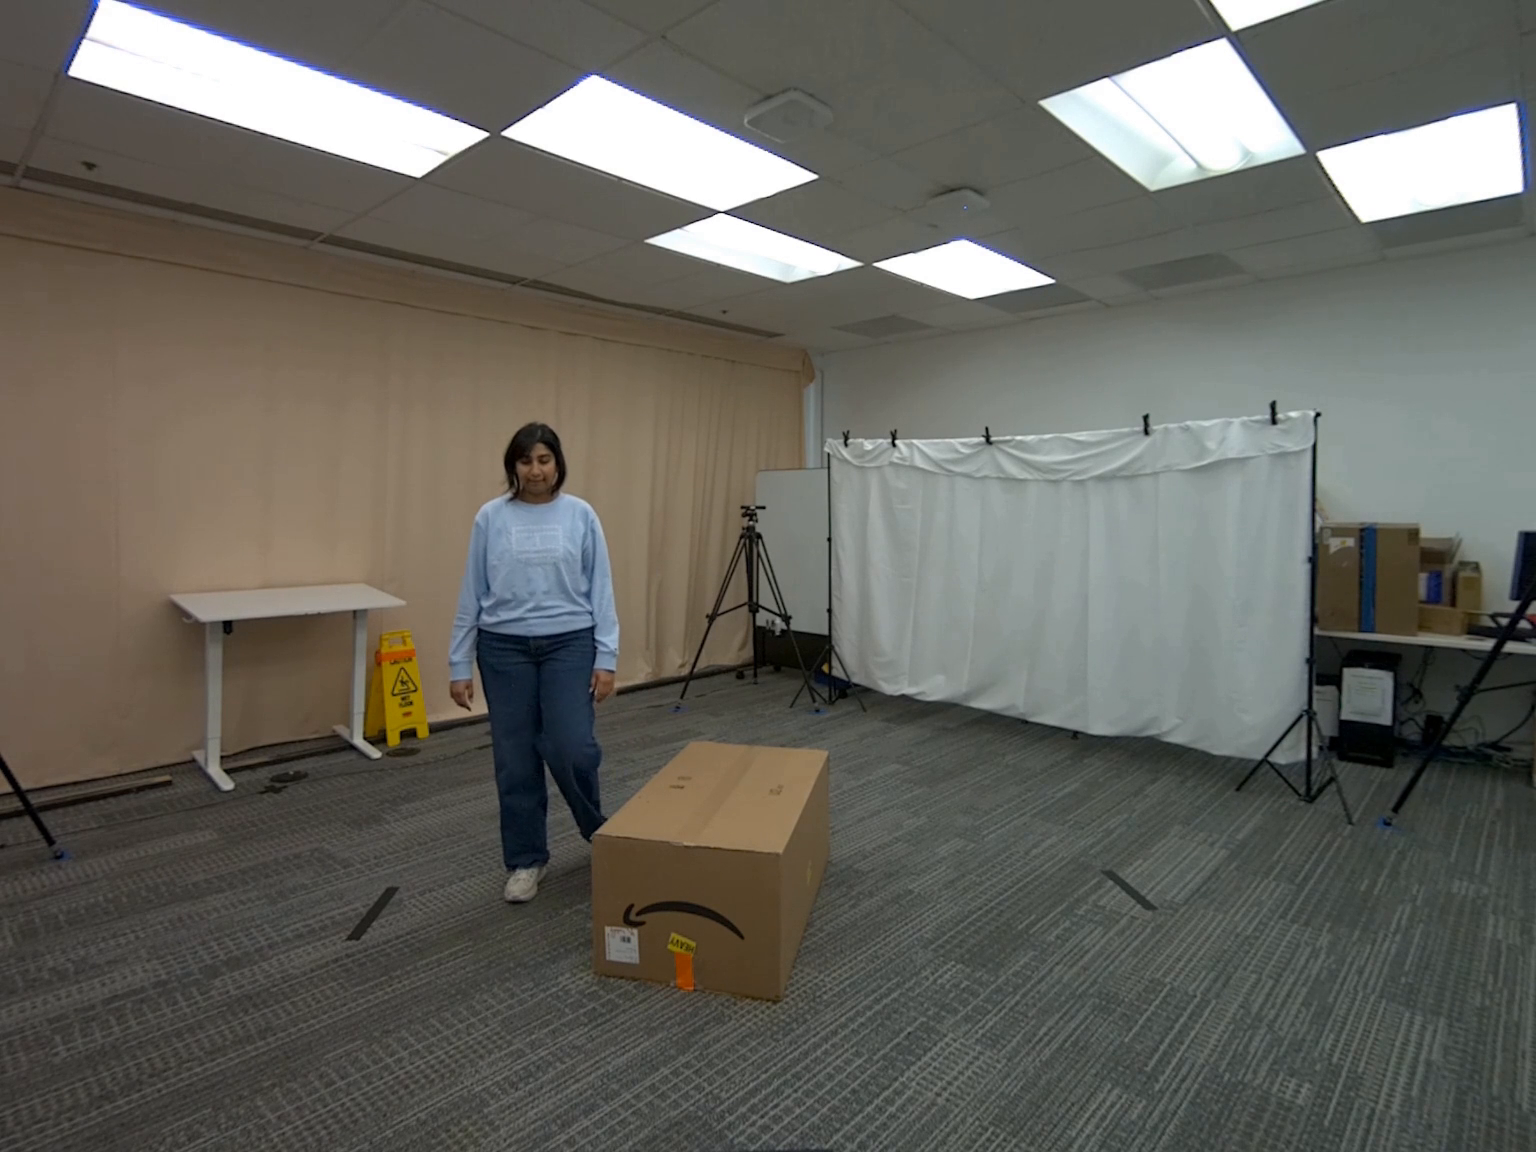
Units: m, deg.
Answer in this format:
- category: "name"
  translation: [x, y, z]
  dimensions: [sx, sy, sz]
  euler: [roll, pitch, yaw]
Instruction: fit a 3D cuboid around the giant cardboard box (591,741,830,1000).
- category: "giant cardboard box"
  translation: [-0.136, 0.932, 2.908]
  dimensions: [0.586, 0.425, 1.013]
  euler: [0, 5, 13]
